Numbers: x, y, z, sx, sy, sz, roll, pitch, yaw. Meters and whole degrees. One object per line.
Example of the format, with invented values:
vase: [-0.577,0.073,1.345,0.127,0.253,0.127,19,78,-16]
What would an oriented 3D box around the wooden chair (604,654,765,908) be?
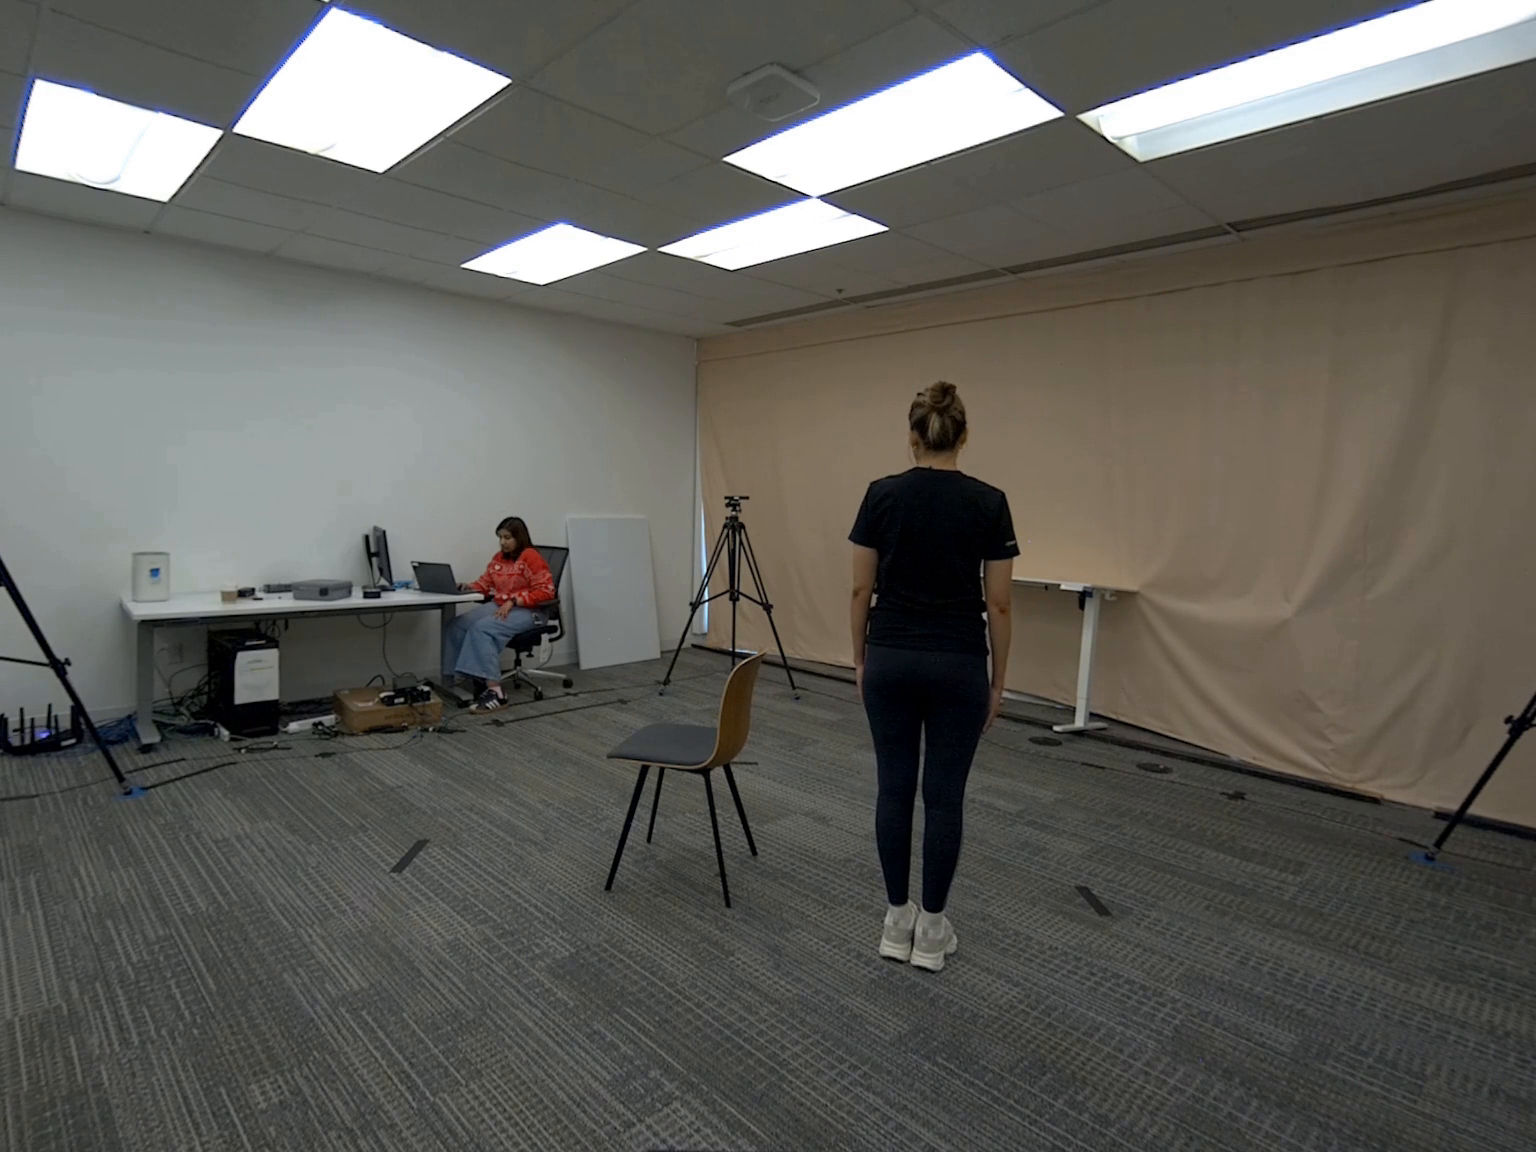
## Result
wooden chair: [-0.311,0.673,3.089,0.529,0.875,0.474,6,5,13]
